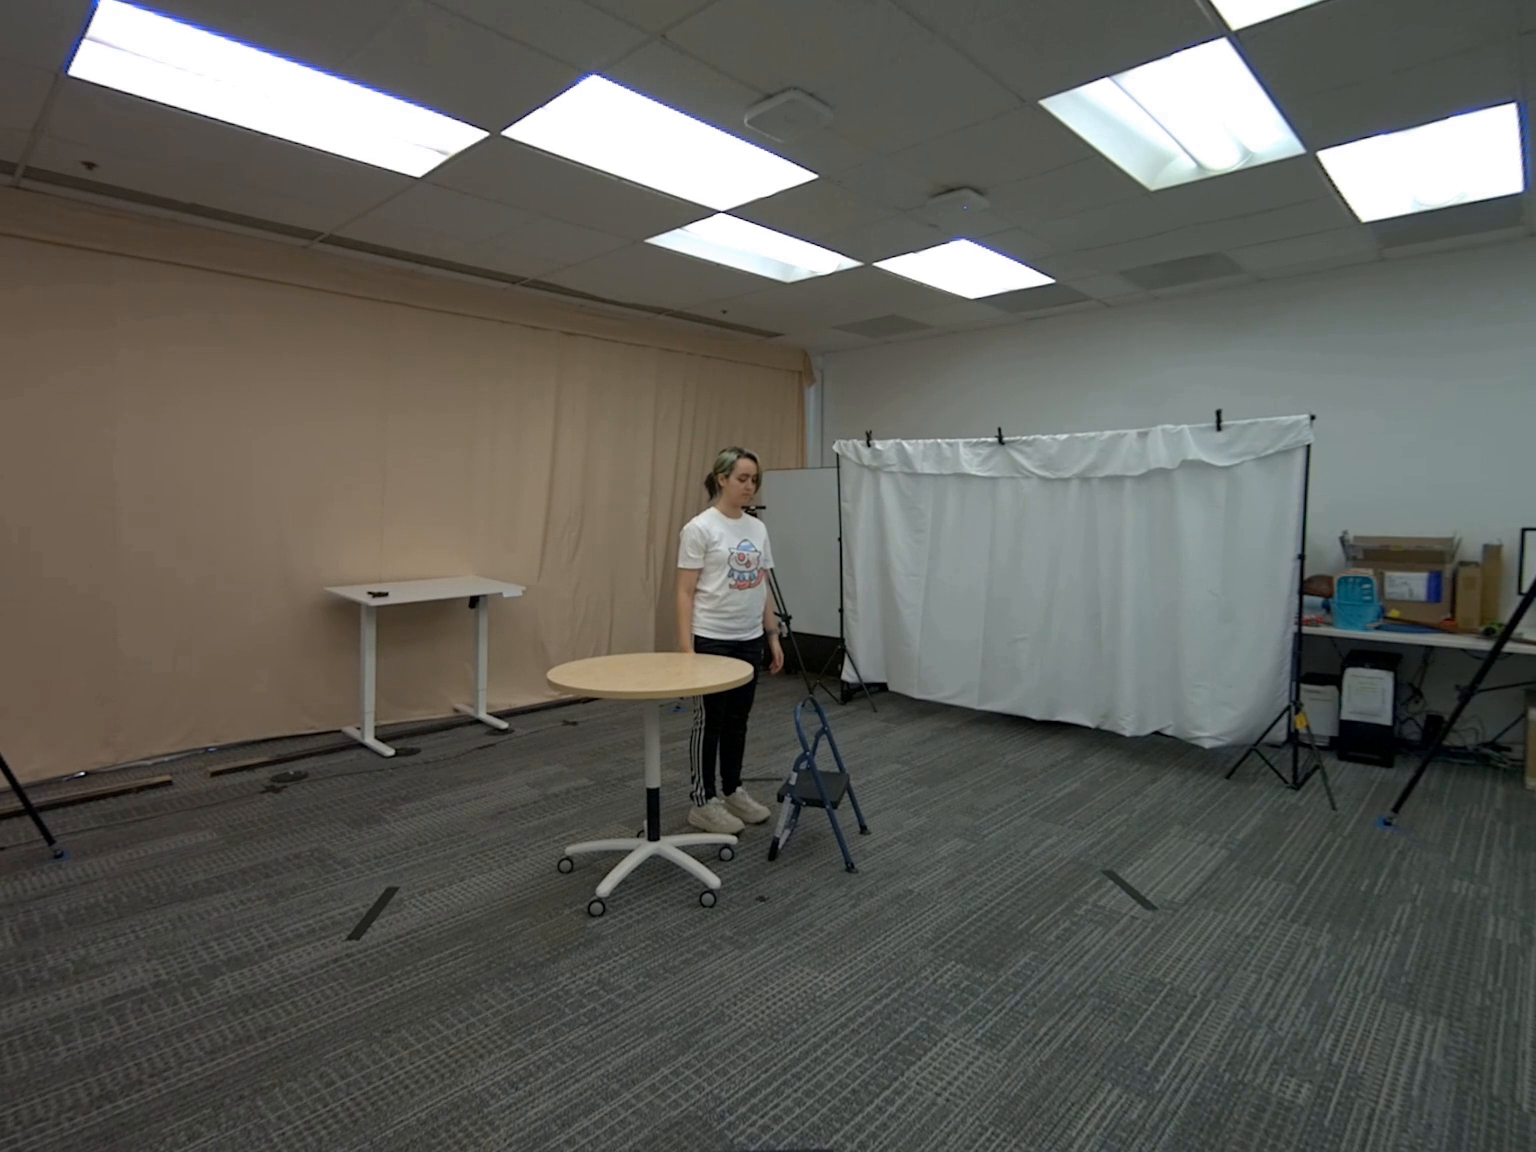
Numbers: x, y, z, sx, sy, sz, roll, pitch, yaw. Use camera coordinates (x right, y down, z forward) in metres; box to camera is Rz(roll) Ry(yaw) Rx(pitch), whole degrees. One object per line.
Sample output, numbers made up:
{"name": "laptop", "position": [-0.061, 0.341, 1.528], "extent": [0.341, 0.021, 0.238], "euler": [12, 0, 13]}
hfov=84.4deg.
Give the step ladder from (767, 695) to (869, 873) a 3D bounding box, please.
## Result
{"name": "step ladder", "position": [0.215, 0.803, 3.423], "extent": [0.355, 0.605, 0.424], "euler": [2, 4, 15]}
